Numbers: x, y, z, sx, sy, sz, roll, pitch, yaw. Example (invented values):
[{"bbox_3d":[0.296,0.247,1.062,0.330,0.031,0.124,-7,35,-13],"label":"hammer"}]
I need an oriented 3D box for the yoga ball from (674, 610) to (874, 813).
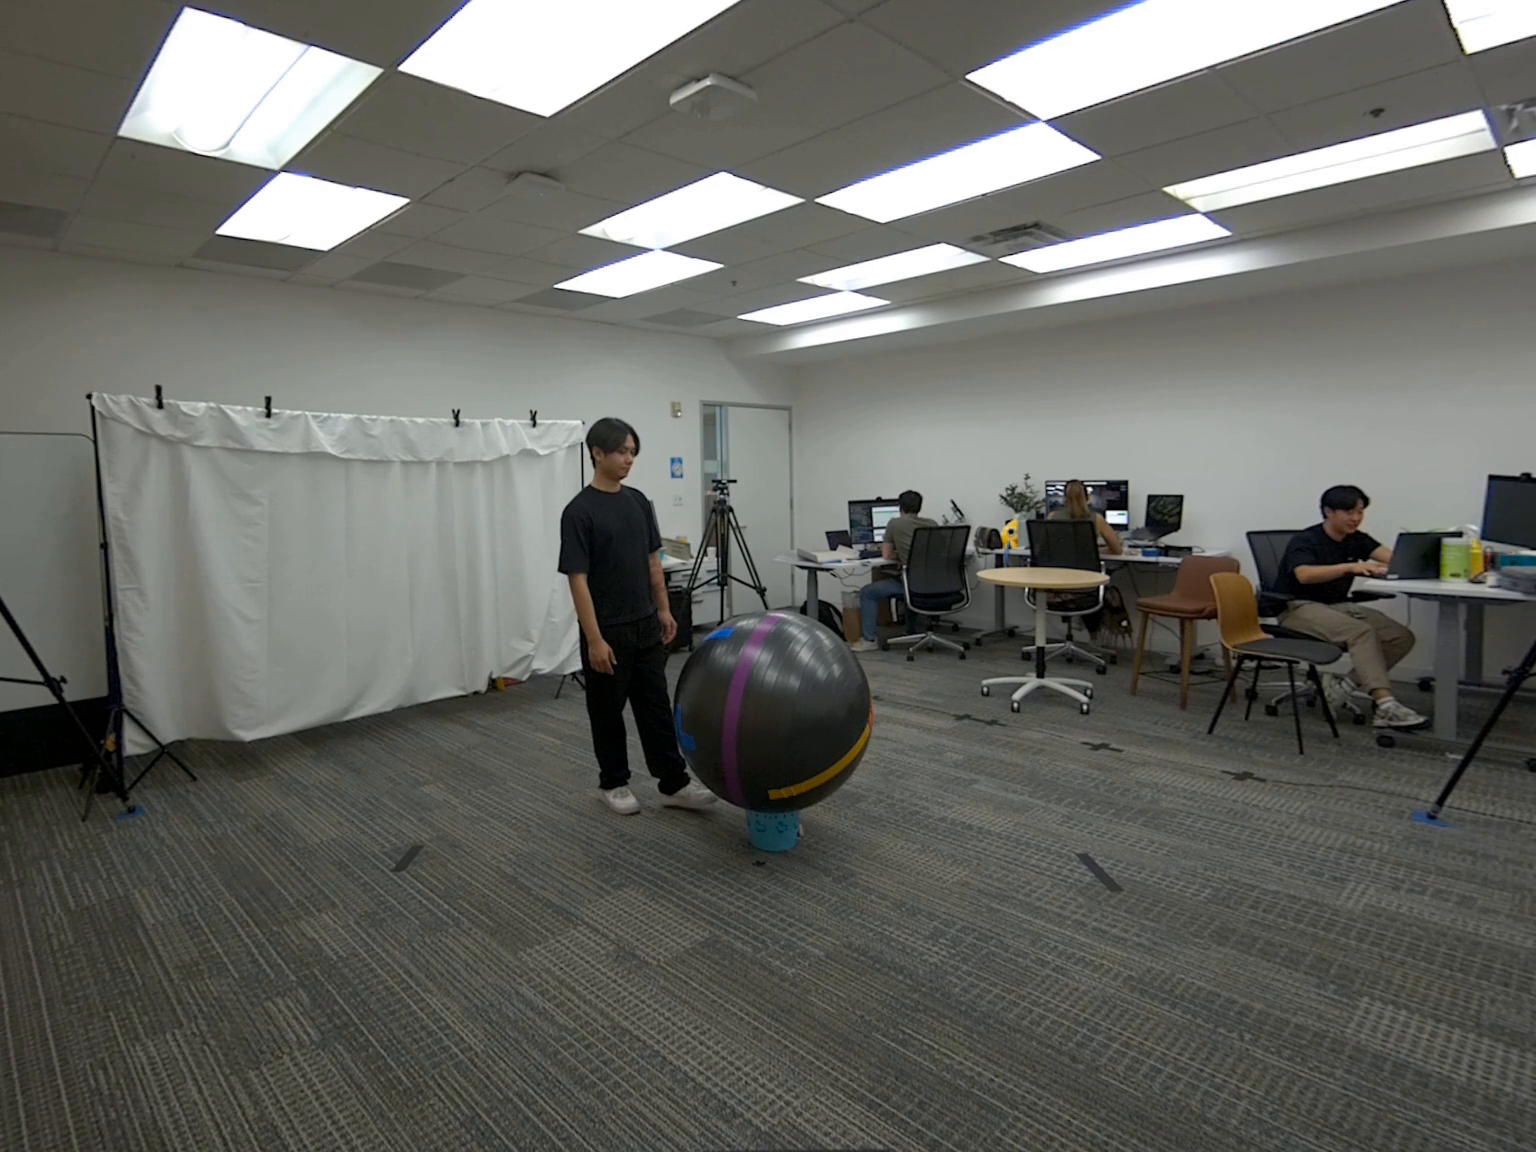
[{"bbox_3d":[0.020,0.517,3.280,0.757,0.755,0.762,-1,5,-2],"label":"yoga ball"}]
